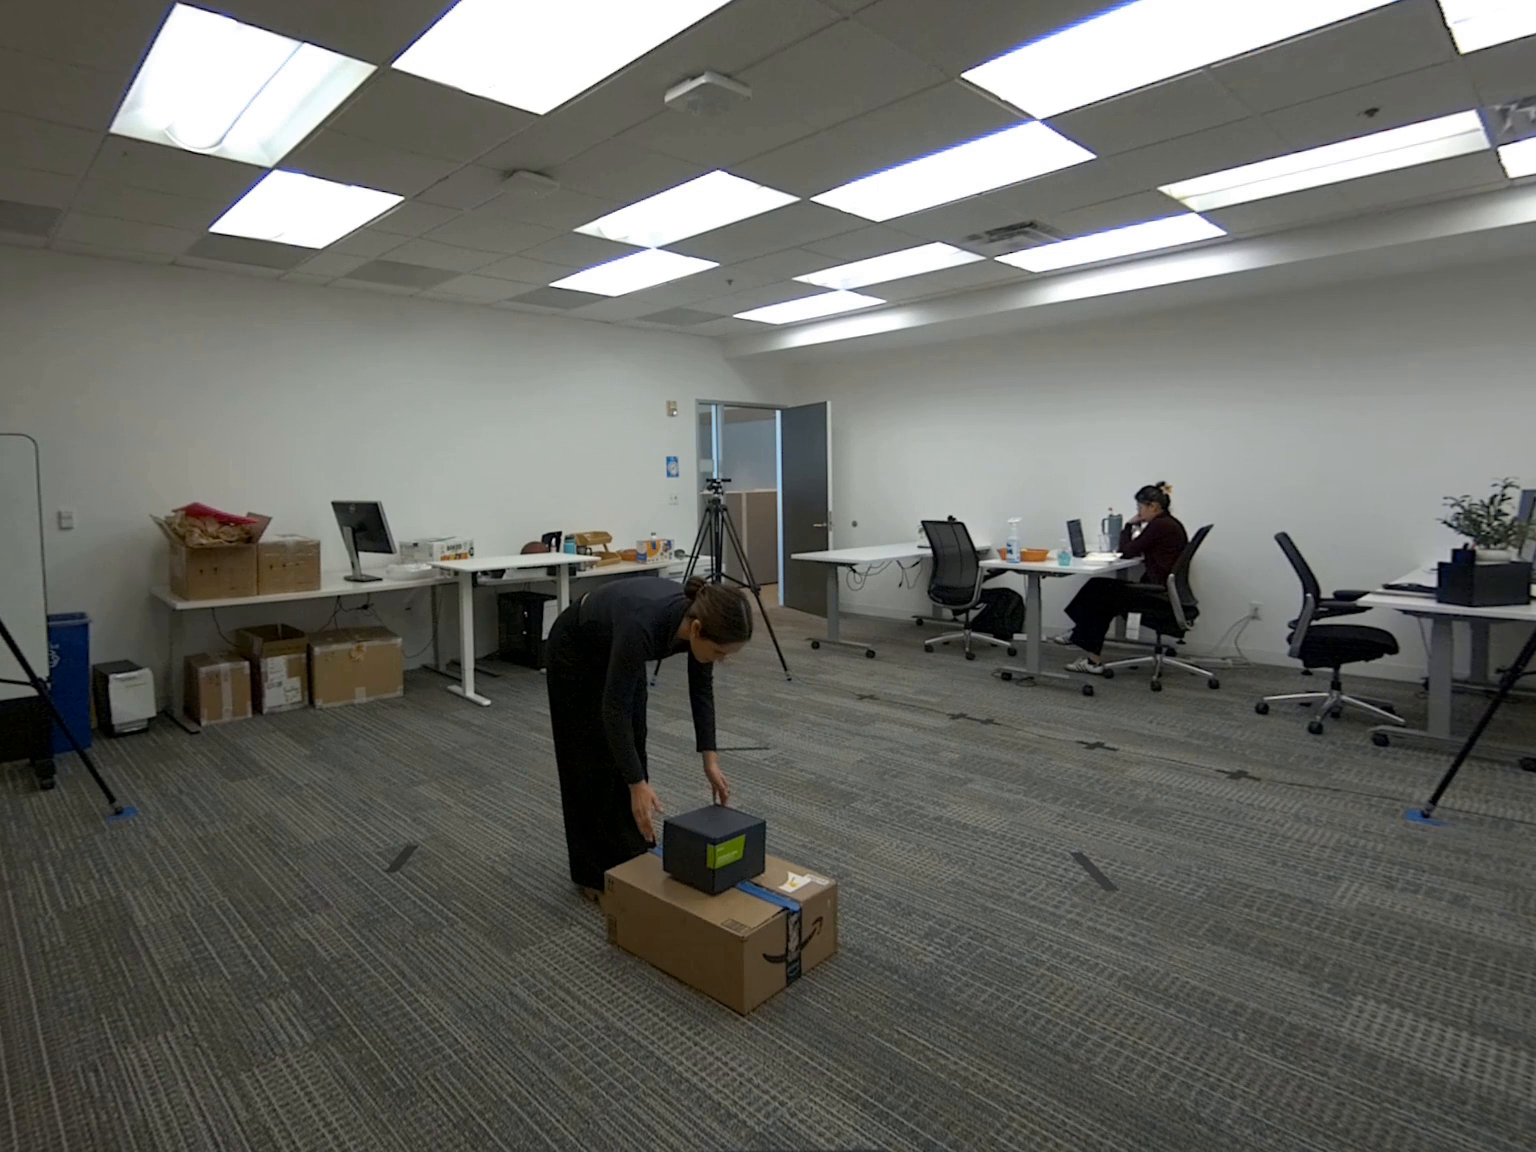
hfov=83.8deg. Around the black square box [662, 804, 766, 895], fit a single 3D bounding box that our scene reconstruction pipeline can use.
[{"bbox_3d":[-0.164,0.809,2.558,0.223,0.155,0.222,3,4,41],"label":"black square box"}]
